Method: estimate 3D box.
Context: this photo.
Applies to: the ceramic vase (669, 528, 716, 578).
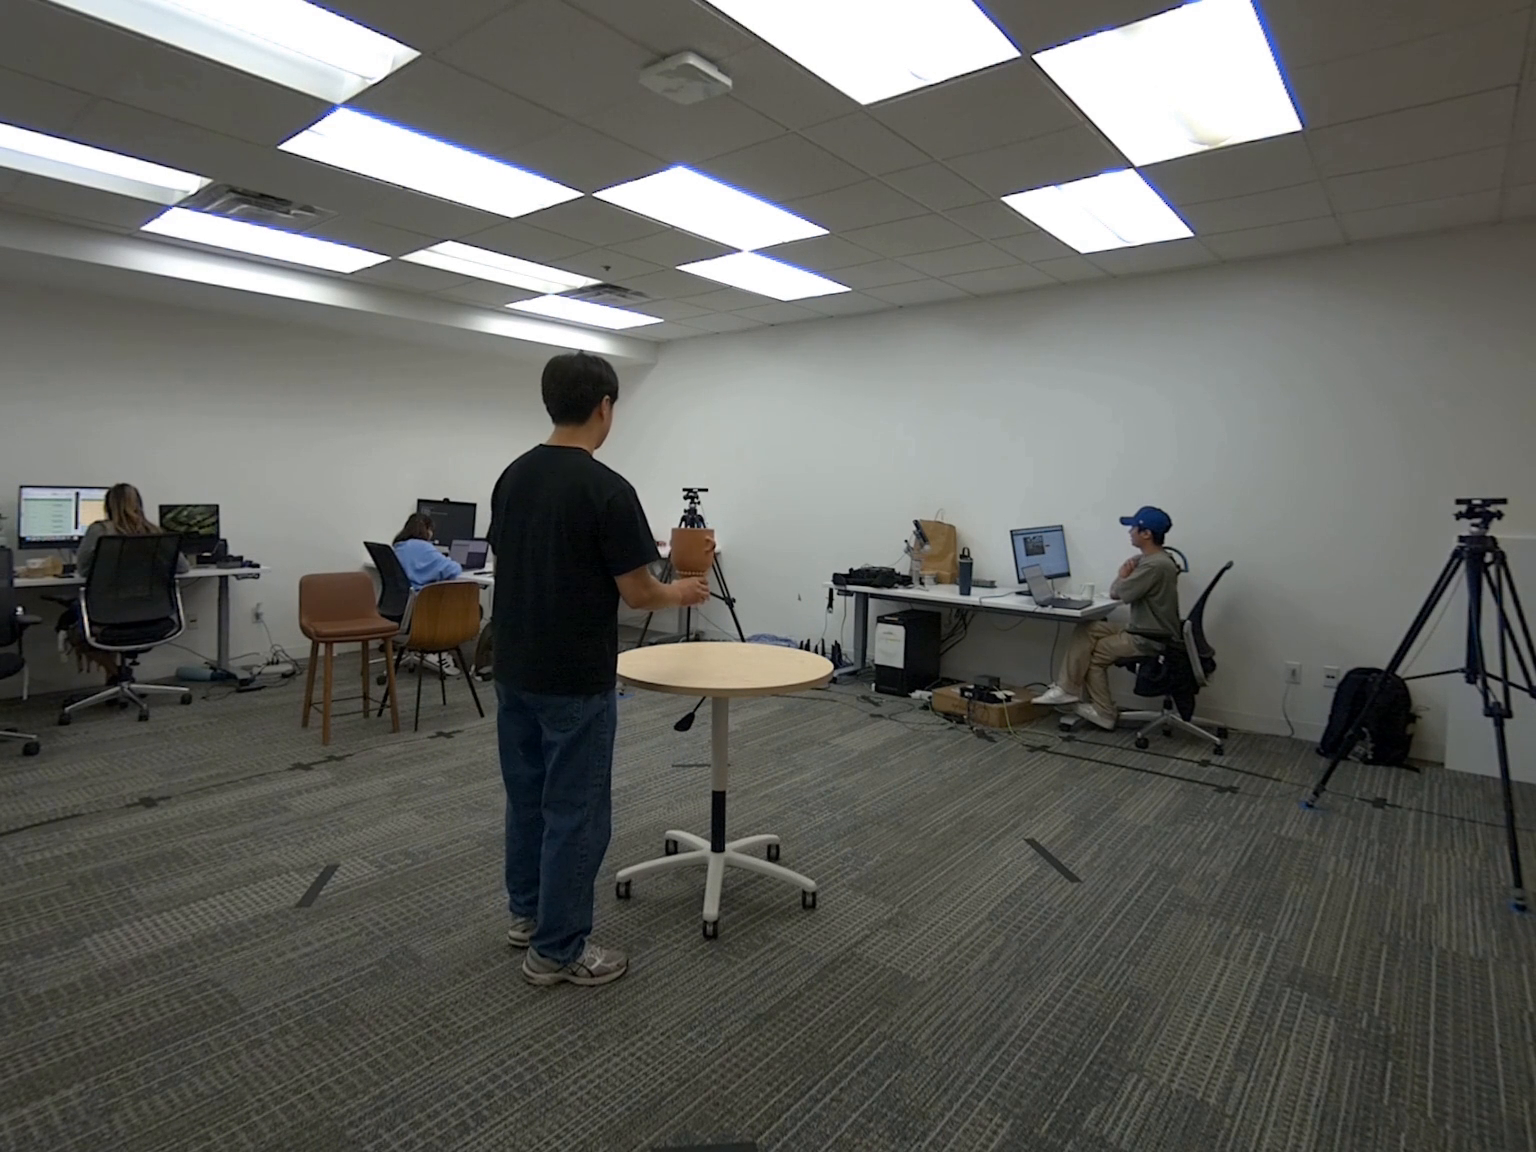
[{"bbox_3d":[-0.247,-0.040,2.634,0.134,0.219,0.160,0,3,-7],"label":"ceramic vase"}]
